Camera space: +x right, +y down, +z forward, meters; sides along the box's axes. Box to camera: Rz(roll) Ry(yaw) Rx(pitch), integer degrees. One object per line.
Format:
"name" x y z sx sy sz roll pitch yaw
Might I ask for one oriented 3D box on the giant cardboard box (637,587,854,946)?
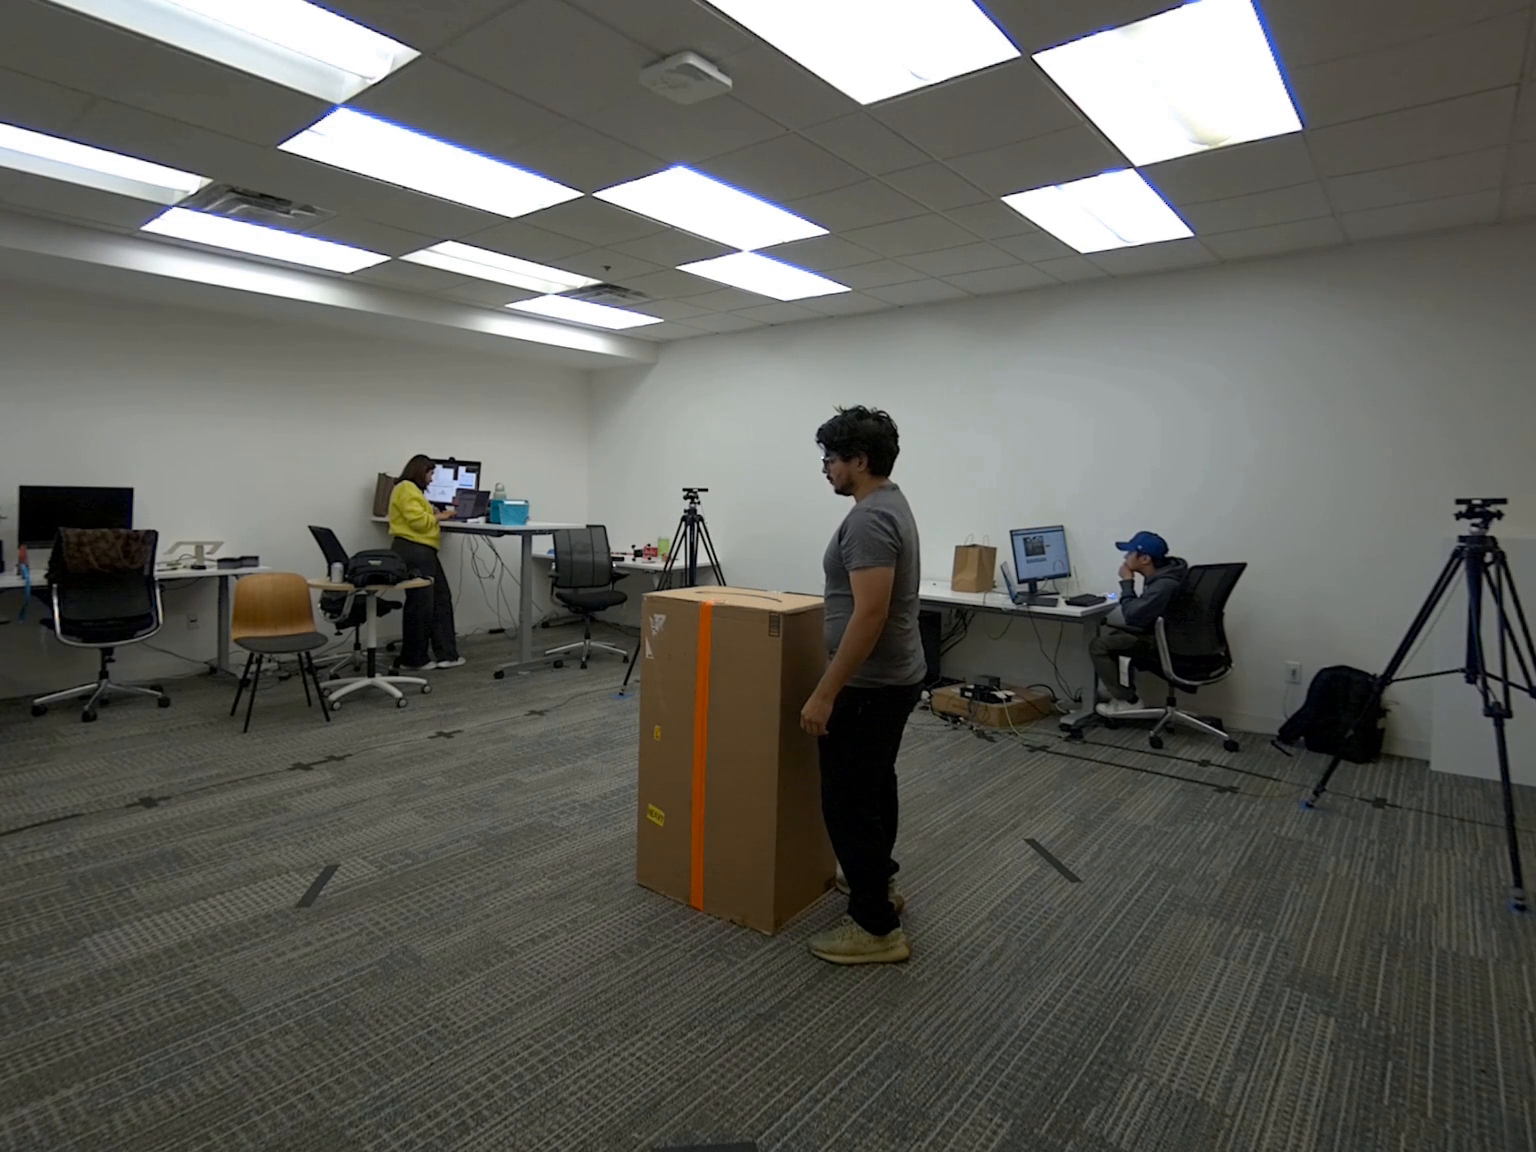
"giant cardboard box" -0.112 0.580 2.955 0.602 1.025 0.434 4 3 34
